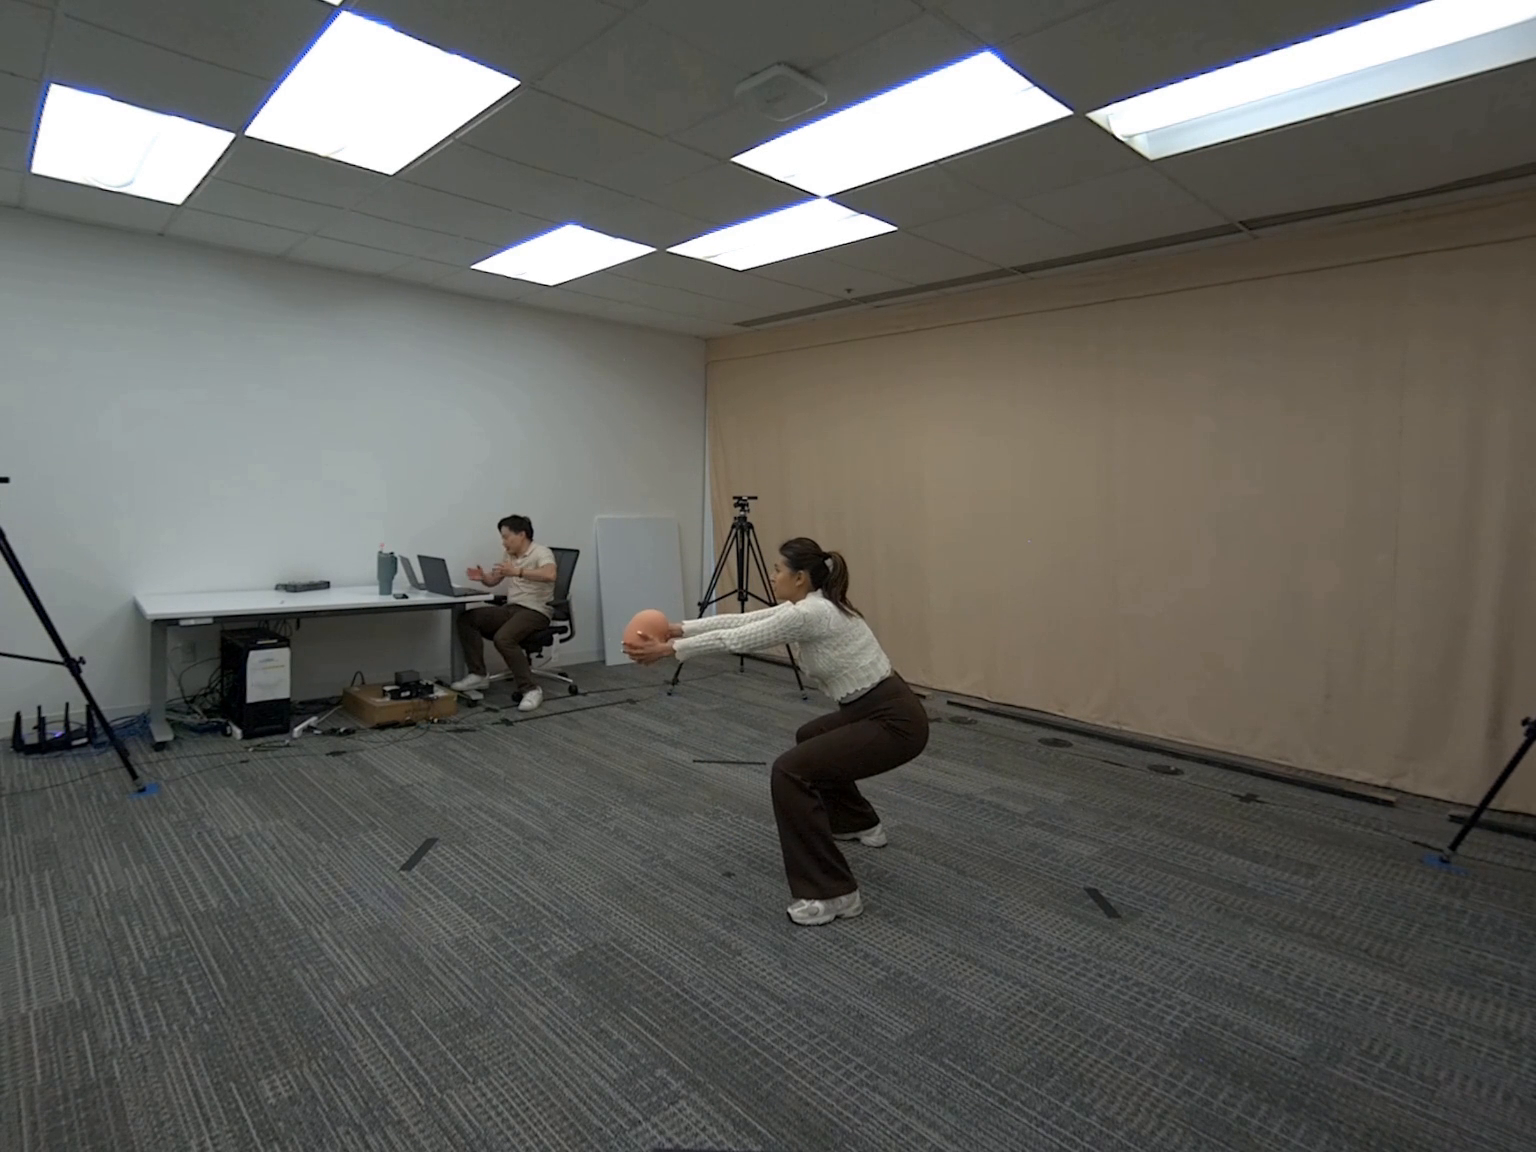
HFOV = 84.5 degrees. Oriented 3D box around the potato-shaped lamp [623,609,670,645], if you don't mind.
[{"bbox_3d":[-0.467,0.222,3.244,0.172,0.198,0.164,30,5,5],"label":"potato-shaped lamp"}]
